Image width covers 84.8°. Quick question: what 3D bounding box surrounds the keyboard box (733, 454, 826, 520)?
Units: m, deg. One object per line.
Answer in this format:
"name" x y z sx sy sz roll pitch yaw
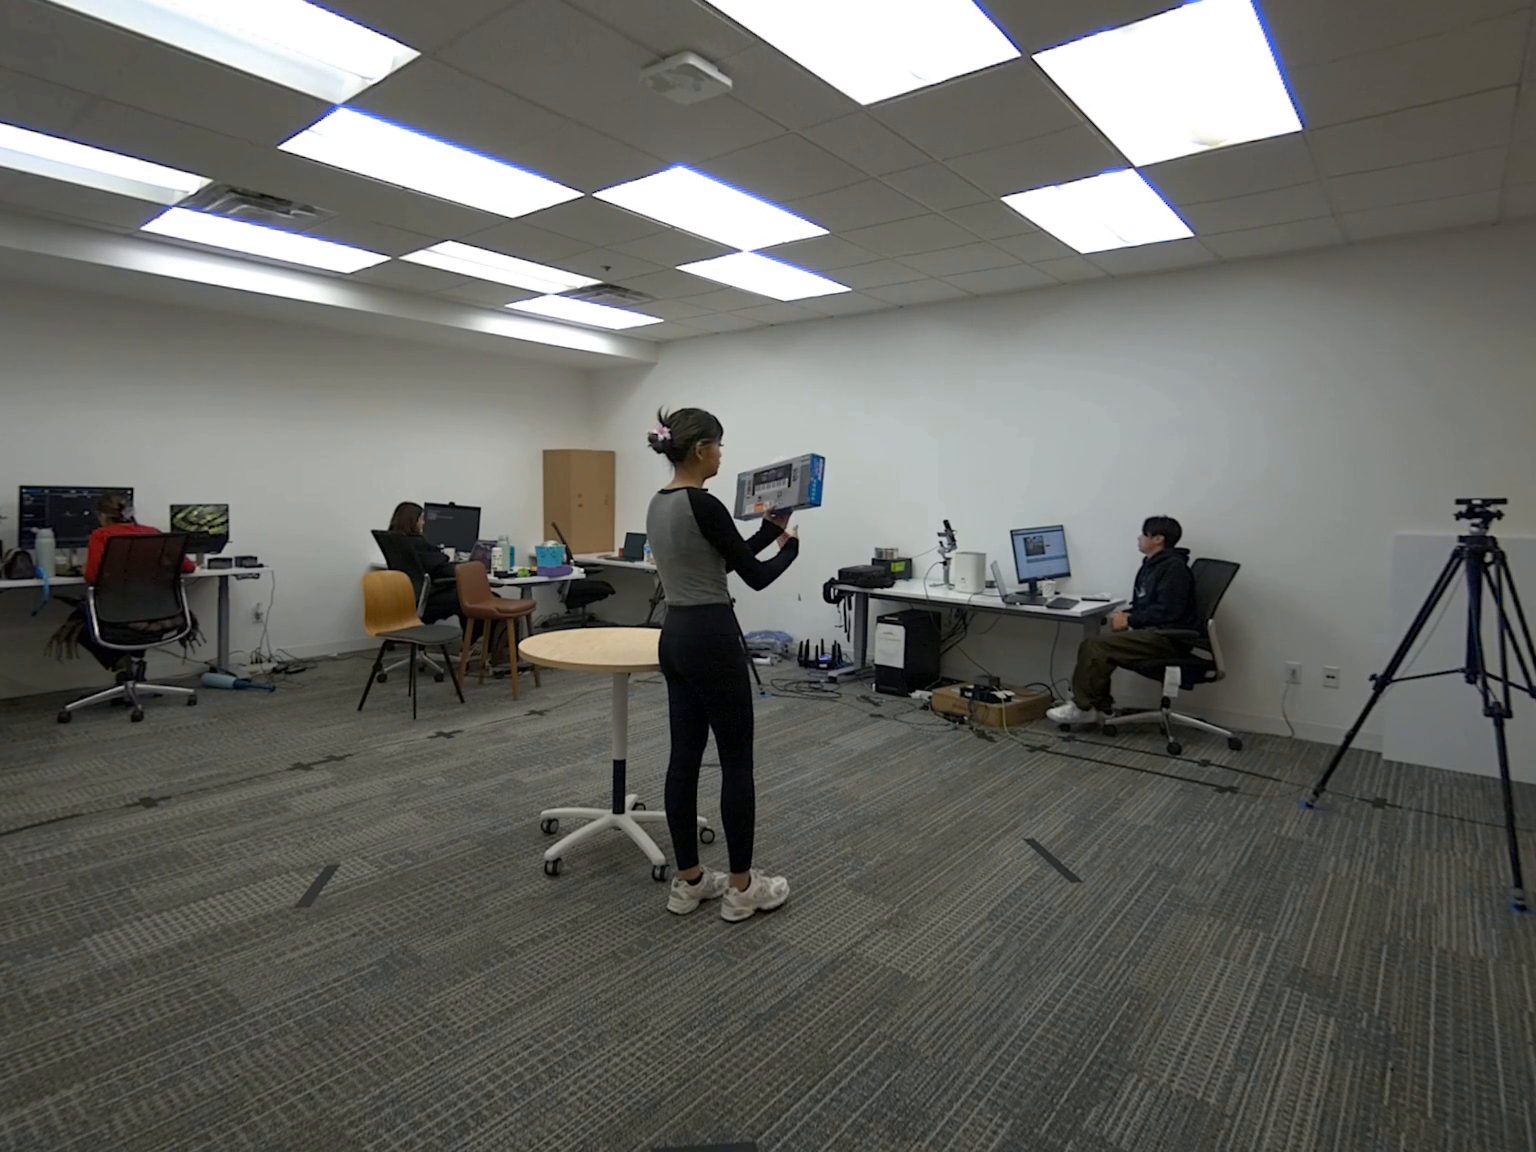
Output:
"keyboard box" 0.021 -0.306 2.993 0.057 0.177 0.448 13 -11 -34
